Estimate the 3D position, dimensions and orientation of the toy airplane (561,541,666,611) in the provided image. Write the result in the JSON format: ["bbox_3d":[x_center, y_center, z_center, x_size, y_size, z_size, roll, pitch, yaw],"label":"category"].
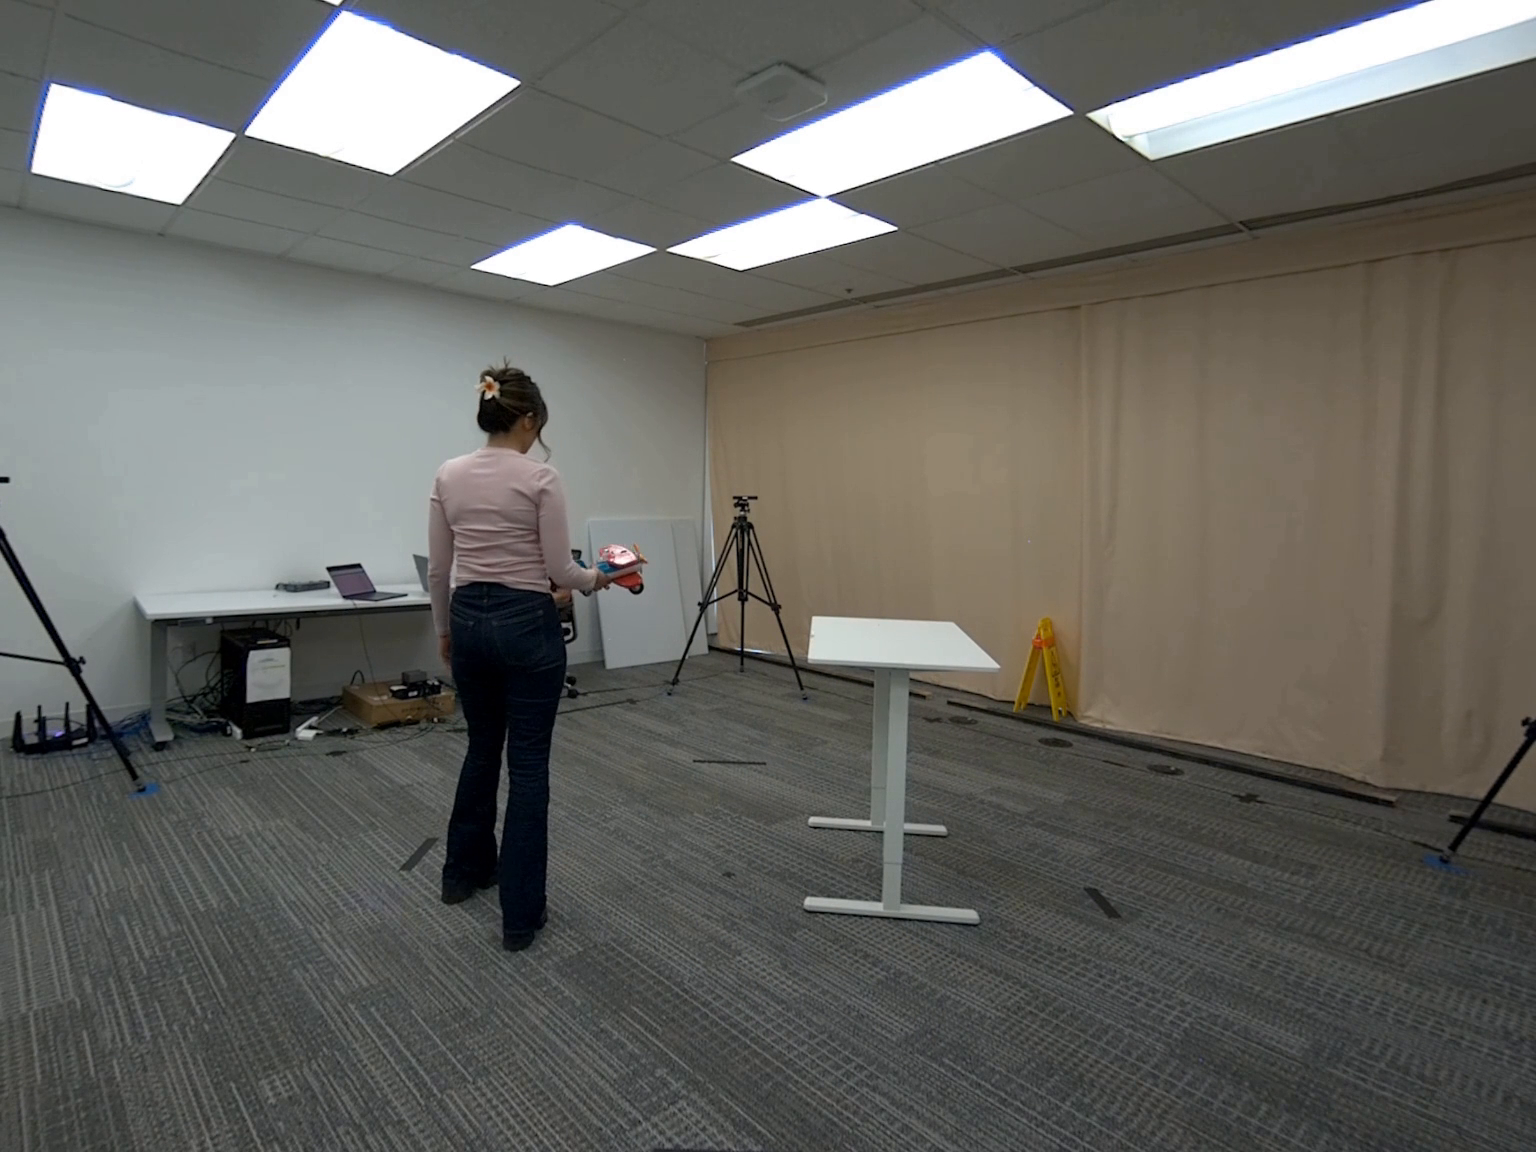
[{"bbox_3d":[-0.549,-0.008,3.000,0.257,0.155,0.255,13,17,32],"label":"toy airplane"}]
